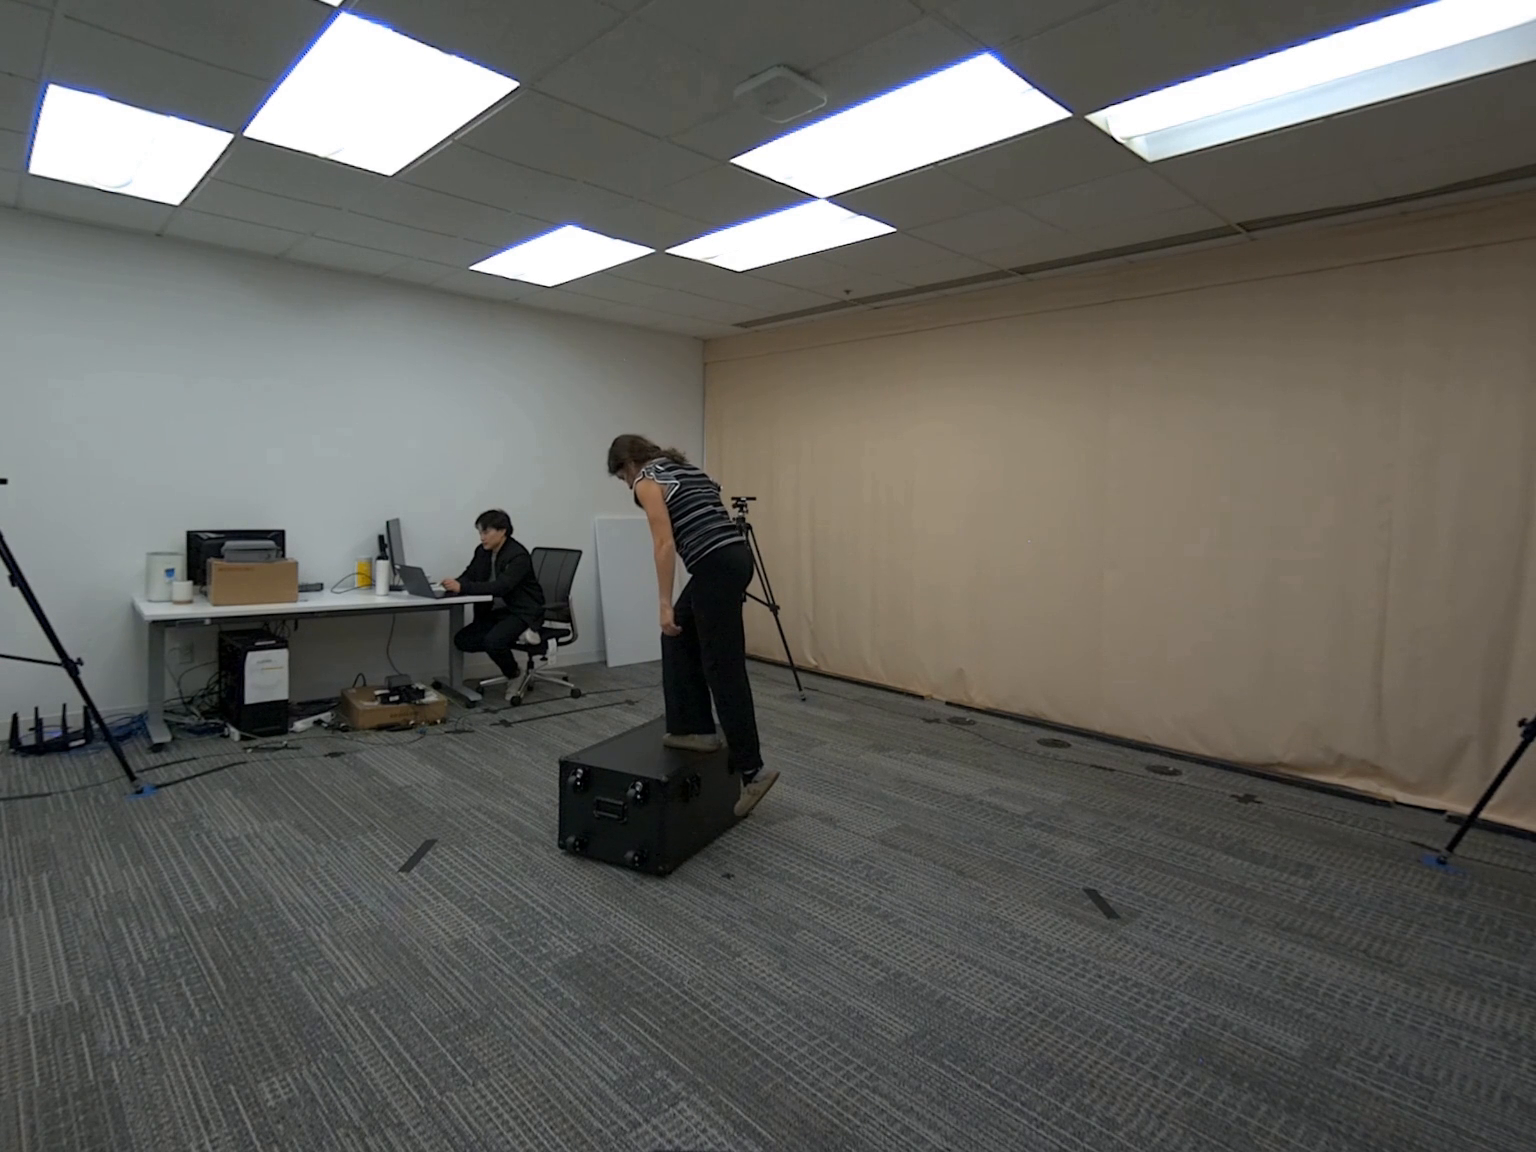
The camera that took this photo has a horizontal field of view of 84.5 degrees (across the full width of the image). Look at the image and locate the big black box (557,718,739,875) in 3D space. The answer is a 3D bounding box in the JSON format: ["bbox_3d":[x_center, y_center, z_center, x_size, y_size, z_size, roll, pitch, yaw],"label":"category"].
[{"bbox_3d":[-0.457,0.879,3.458,0.531,0.395,0.847,4,5,24],"label":"big black box"}]
